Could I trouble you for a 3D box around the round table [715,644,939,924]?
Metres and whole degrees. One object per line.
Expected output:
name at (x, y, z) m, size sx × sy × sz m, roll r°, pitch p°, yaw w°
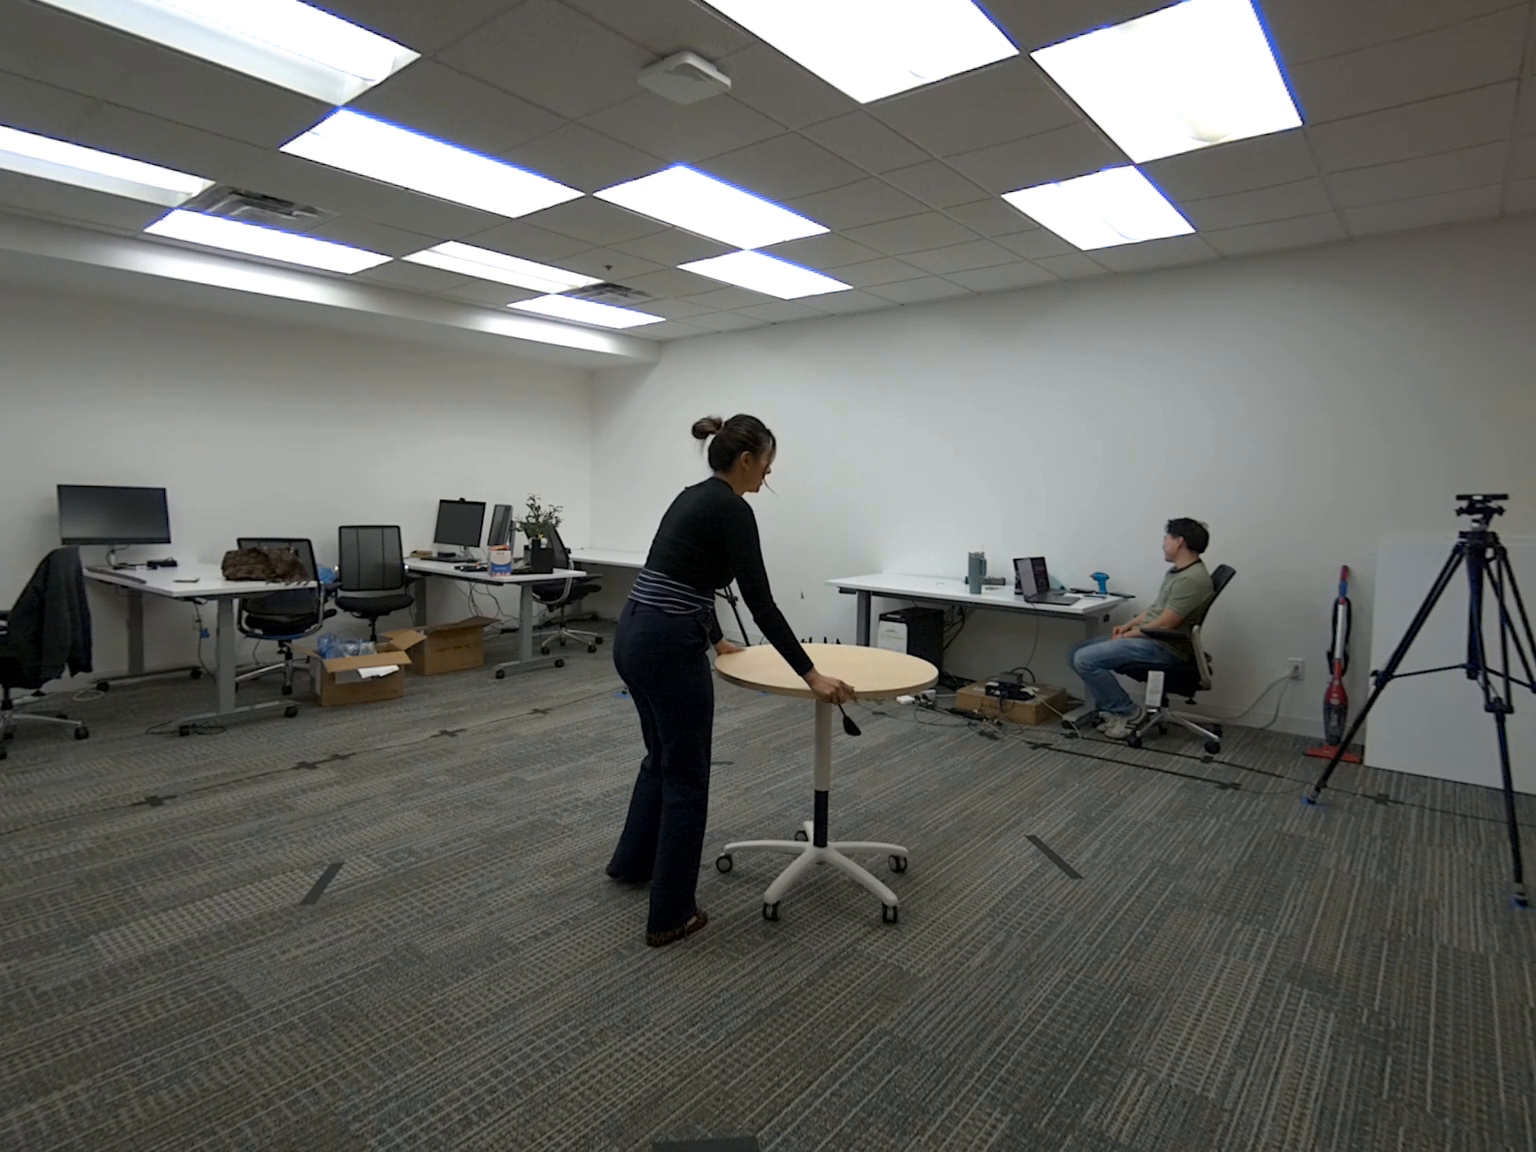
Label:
round table at (0.171, 0.696, 2.982) m, size 0.763 × 0.791 × 0.768 m, roll 1°, pitch 5°, yaw -2°
